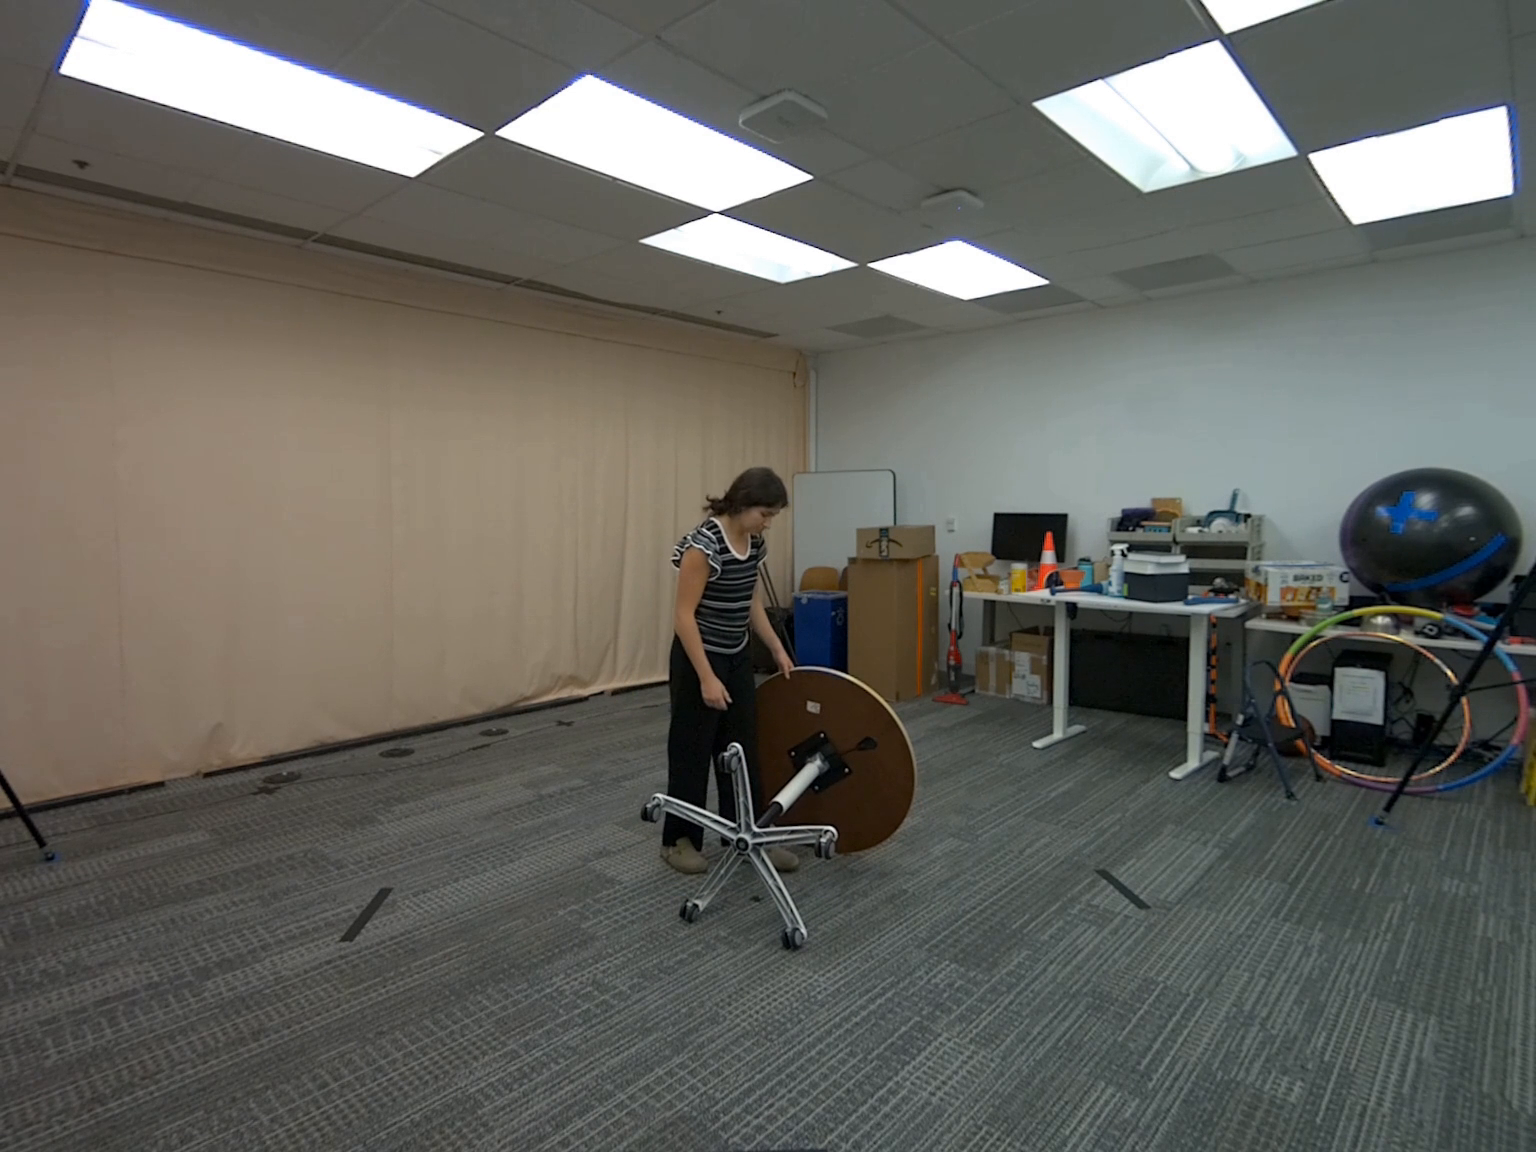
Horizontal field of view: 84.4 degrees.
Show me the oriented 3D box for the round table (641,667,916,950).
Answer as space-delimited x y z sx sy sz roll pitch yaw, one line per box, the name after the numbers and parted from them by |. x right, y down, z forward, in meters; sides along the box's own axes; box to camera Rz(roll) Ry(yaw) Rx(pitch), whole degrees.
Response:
0.055 0.815 3.011 0.785 0.758 0.778 2 12 27 | round table
